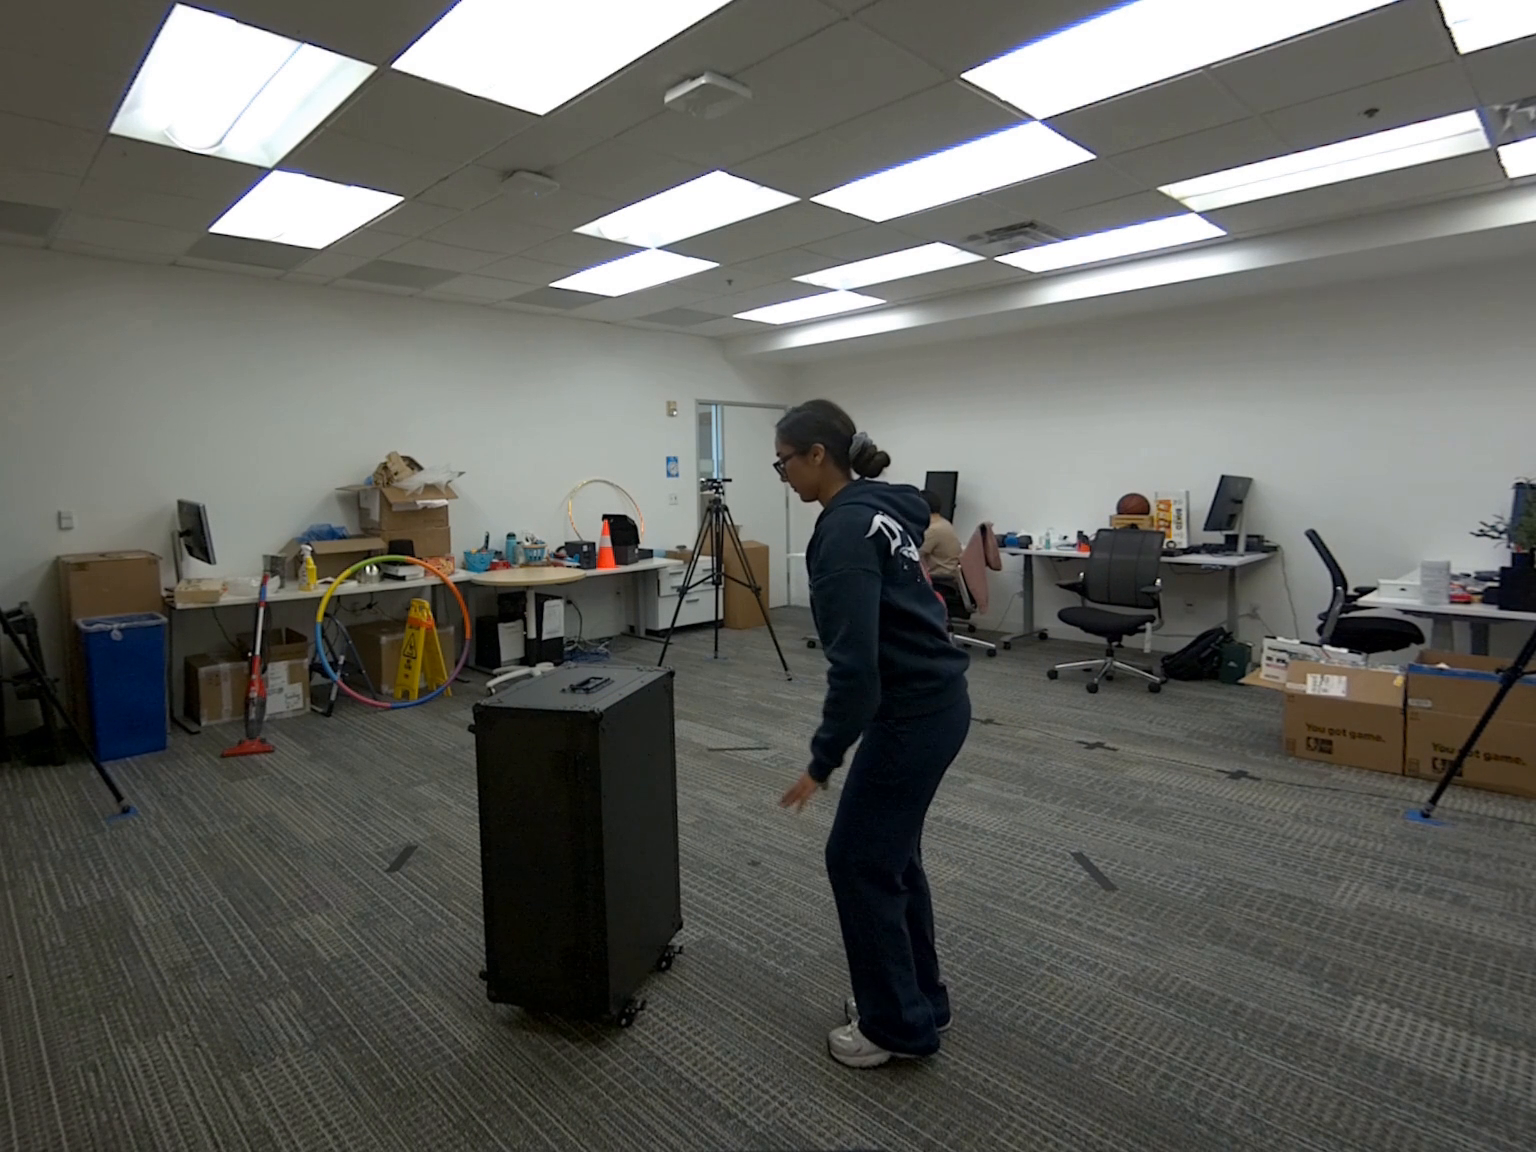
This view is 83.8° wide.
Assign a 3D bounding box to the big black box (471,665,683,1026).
[{"bbox_3d":[-0.508,0.717,2.348,0.403,0.859,0.514,-1,4,18],"label":"big black box"}]
